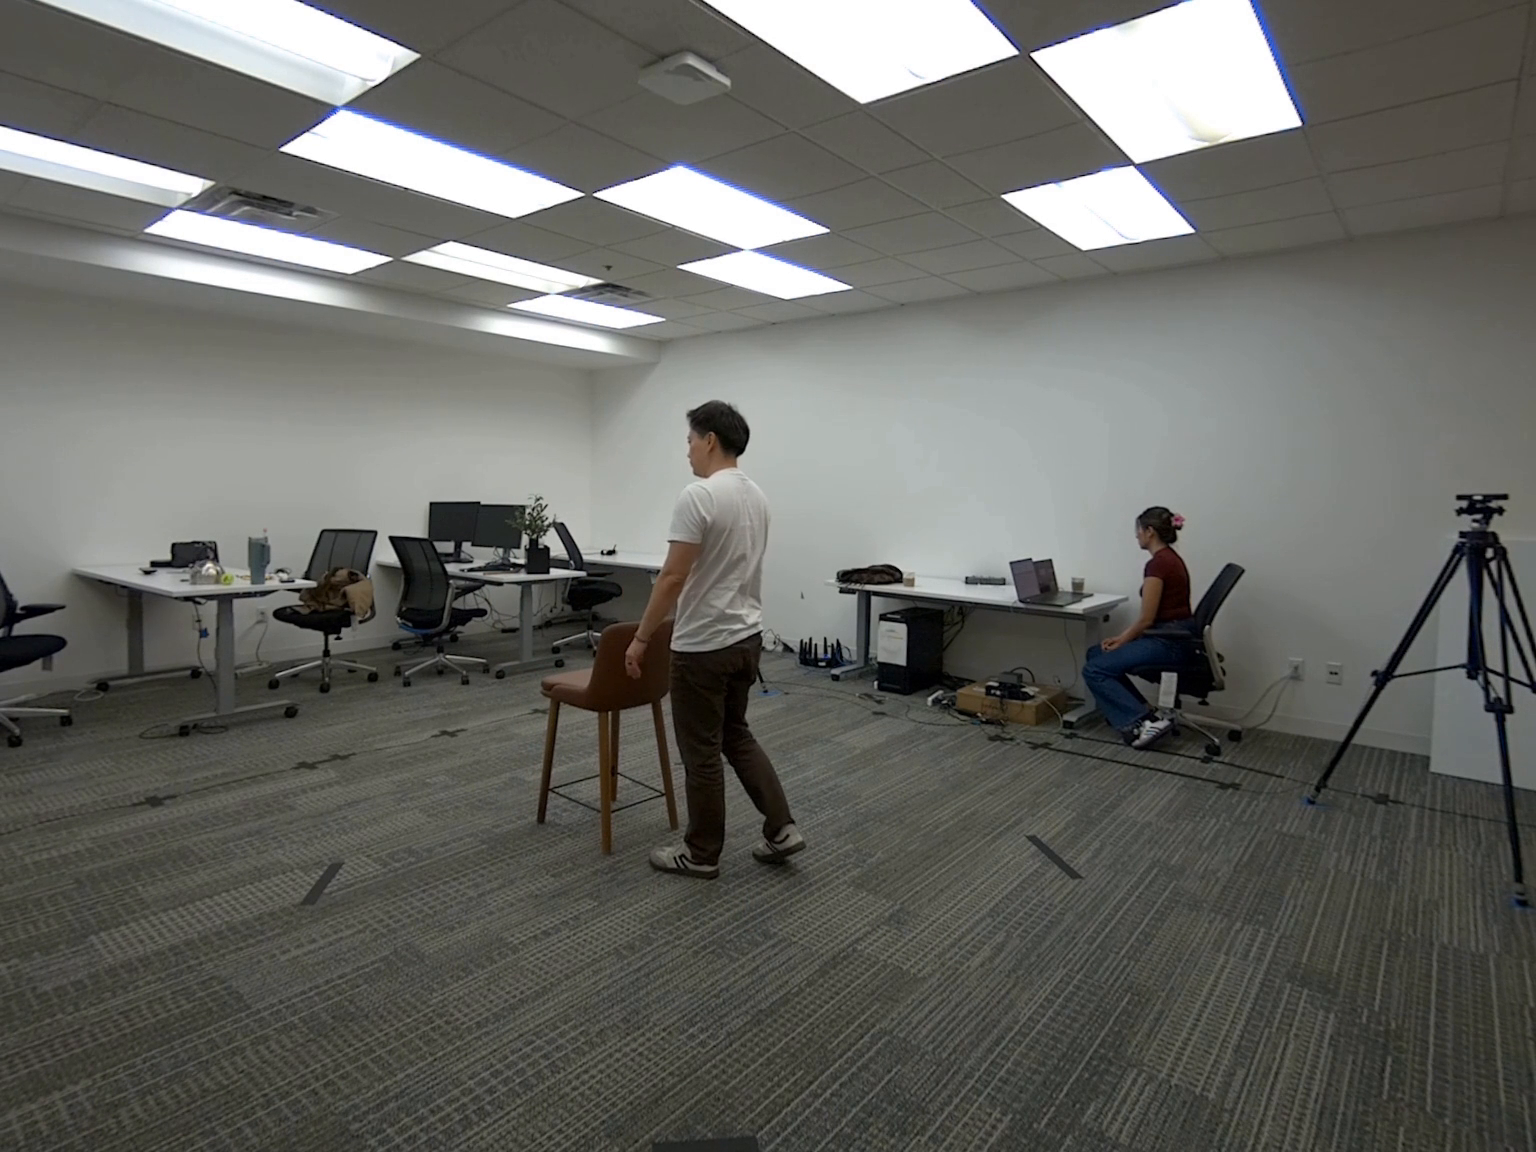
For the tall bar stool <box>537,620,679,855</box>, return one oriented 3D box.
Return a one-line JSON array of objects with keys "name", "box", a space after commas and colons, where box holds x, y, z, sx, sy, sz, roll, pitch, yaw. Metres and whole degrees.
[{"name": "tall bar stool", "box": [-0.654, 0.588, 3.469, 0.484, 0.886, 0.442, 6, 6, 43]}]
